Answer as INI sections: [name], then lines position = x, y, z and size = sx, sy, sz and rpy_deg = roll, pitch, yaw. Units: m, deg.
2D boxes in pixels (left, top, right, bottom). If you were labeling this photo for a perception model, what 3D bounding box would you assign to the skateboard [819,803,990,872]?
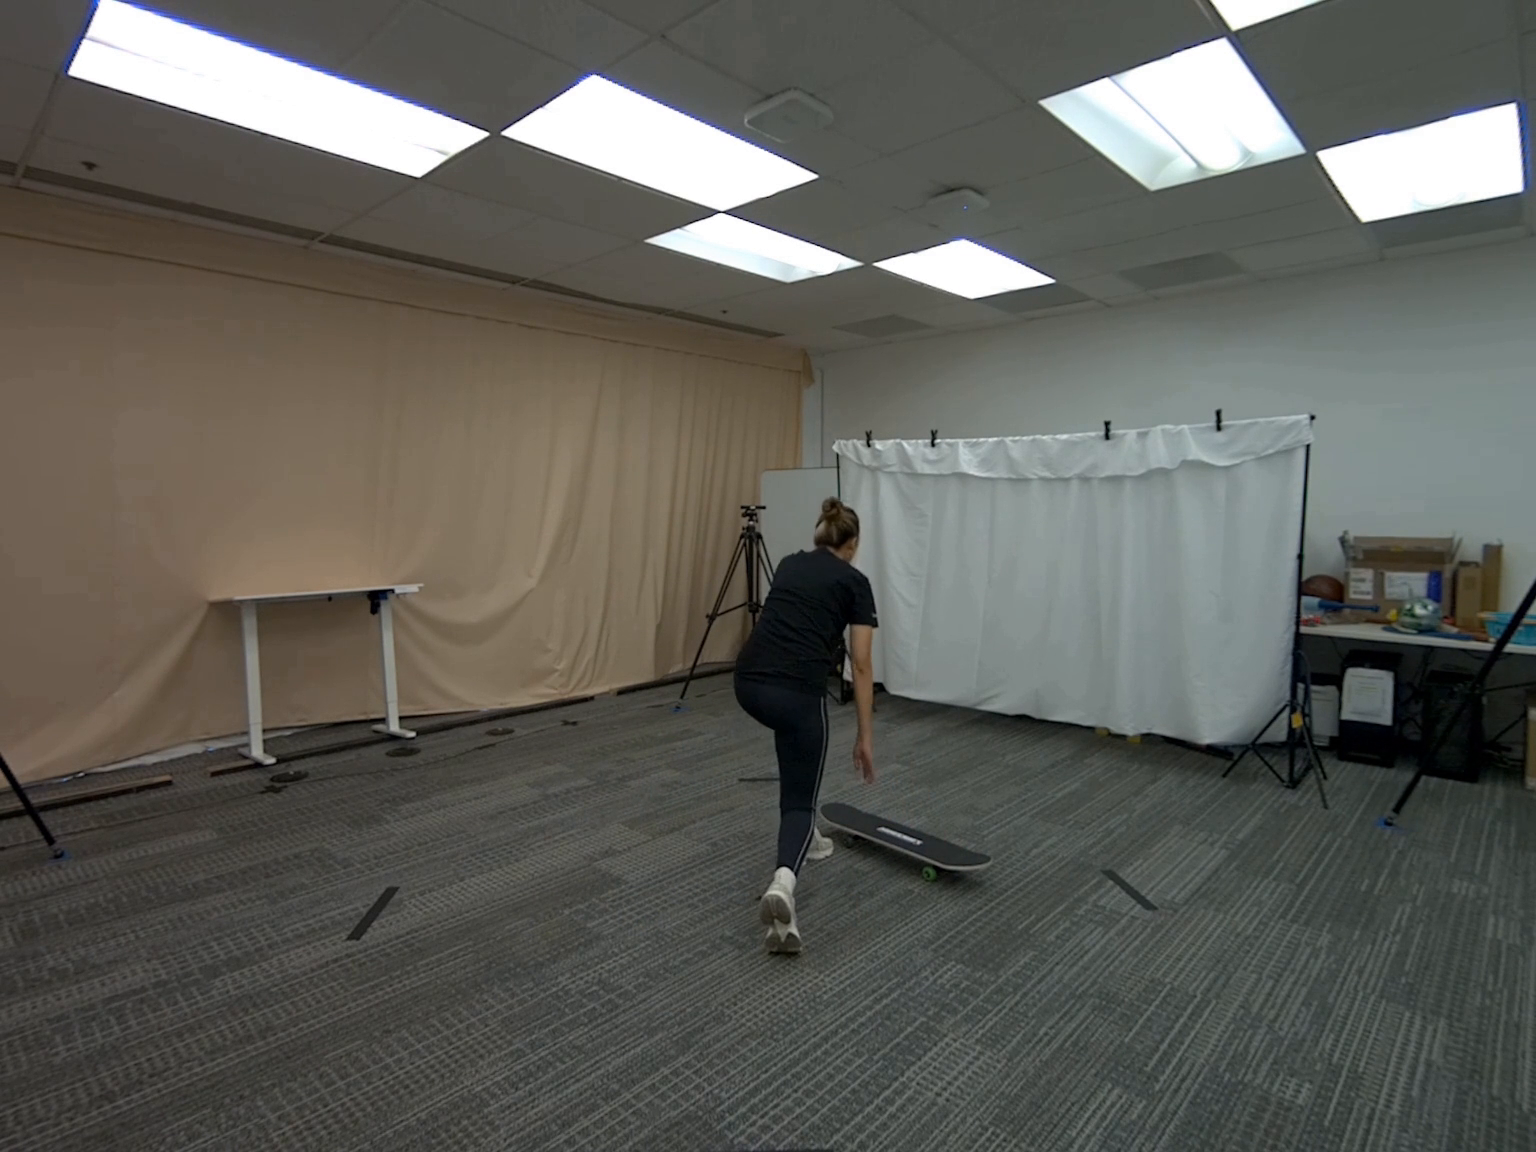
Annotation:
[skateboard]
position = 0.515, 1.053, 3.326
size = 0.187, 0.110, 0.812
rpy_deg = -5, 7, -42
